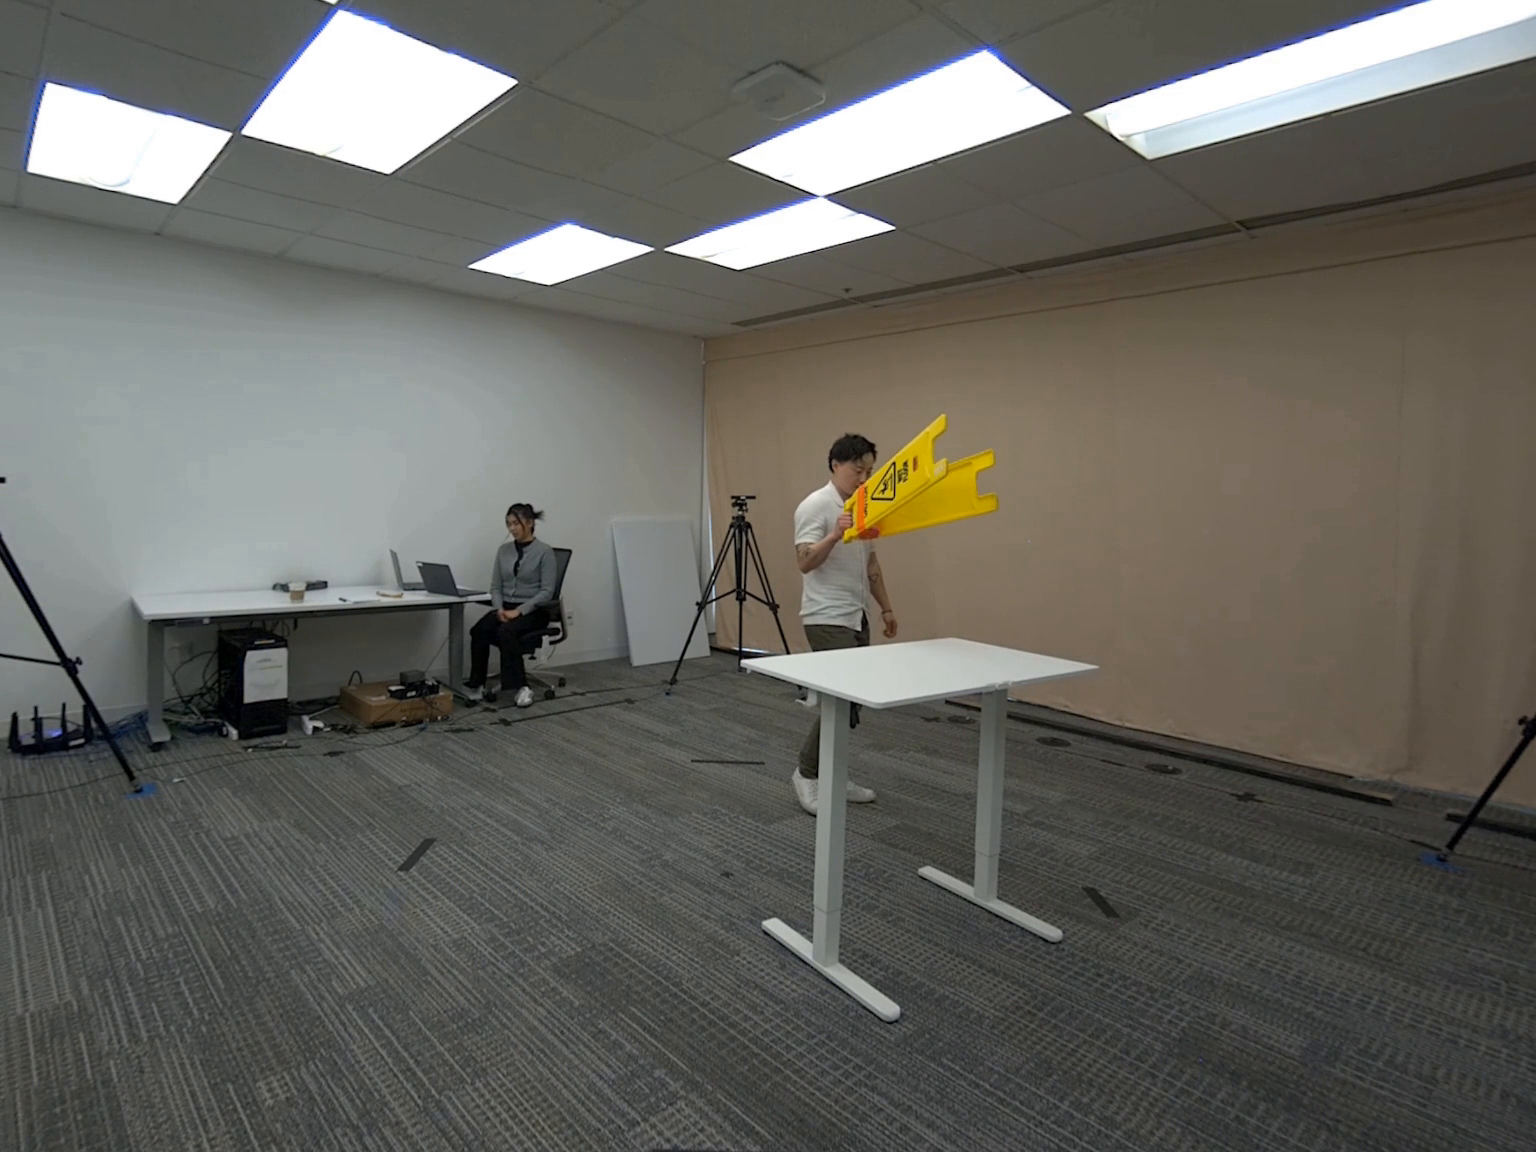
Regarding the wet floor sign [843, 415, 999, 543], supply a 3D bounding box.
[{"bbox_3d":[0.522,-0.316,3.289,0.282,0.287,0.653,29,-36,-32],"label":"wet floor sign"}]
